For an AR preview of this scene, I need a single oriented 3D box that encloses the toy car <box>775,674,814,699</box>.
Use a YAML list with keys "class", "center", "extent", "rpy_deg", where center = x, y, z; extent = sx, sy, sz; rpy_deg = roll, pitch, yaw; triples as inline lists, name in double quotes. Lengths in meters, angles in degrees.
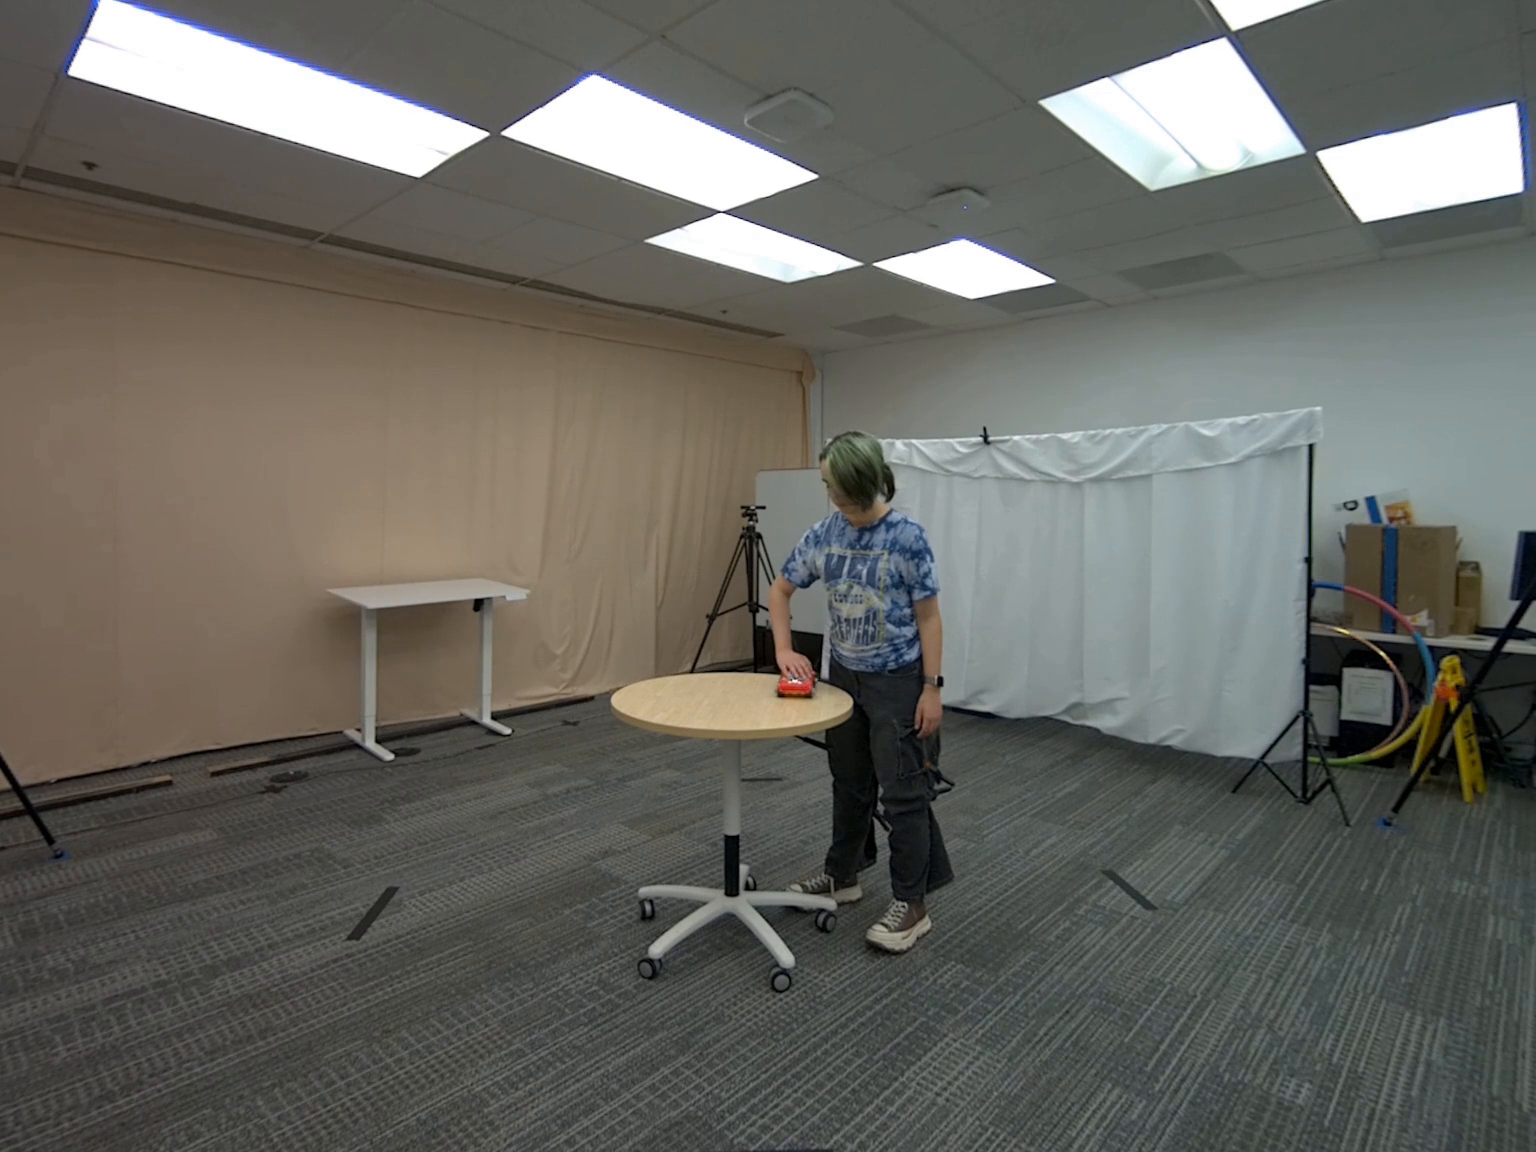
- class: "toy car"
  center: [0.099, 0.350, 2.773]
  extent: [0.131, 0.082, 0.255]
  rpy_deg: [1, 15, 6]
